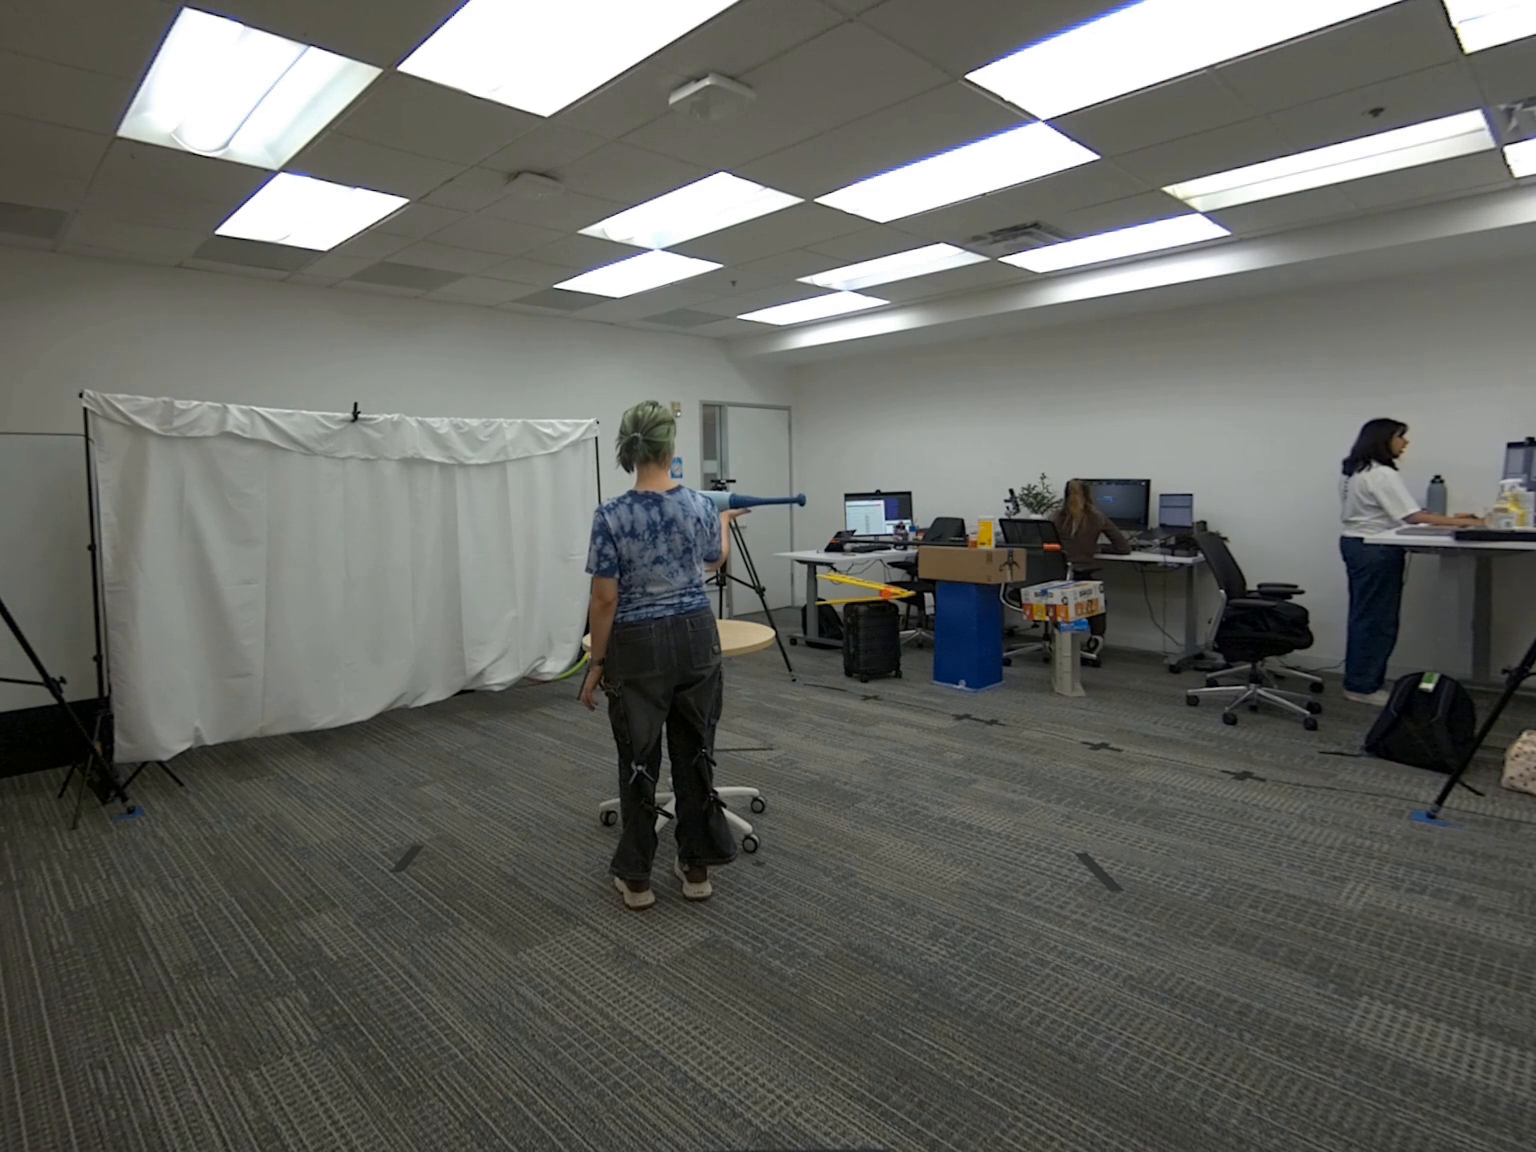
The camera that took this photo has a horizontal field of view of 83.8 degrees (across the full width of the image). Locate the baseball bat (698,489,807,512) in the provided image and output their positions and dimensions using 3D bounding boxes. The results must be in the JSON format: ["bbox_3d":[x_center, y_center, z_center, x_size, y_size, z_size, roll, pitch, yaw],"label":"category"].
[{"bbox_3d":[-0.113,-0.282,3.265,0.554,0.089,0.087,1,5,22],"label":"baseball bat"}]
